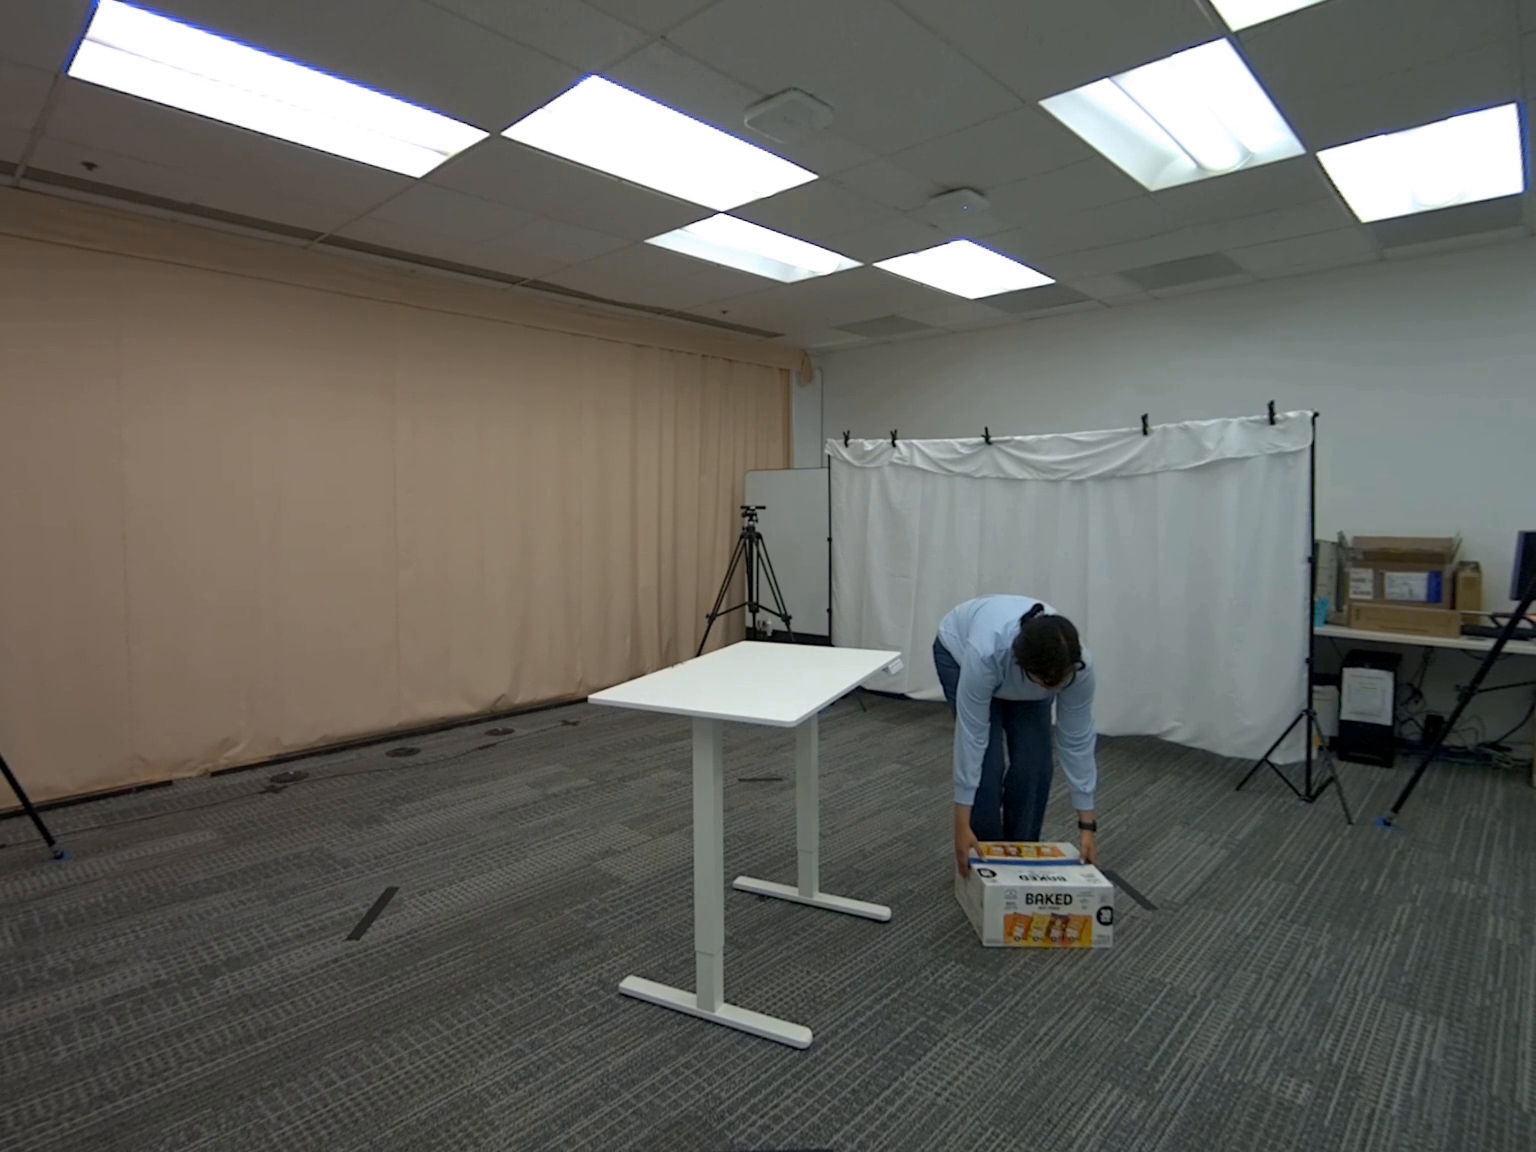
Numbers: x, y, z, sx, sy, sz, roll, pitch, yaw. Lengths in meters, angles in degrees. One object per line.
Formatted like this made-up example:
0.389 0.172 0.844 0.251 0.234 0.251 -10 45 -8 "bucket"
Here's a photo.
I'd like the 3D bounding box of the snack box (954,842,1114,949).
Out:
0.869 1.049 2.806 0.405 0.205 0.341 0 4 0 "snack box"
